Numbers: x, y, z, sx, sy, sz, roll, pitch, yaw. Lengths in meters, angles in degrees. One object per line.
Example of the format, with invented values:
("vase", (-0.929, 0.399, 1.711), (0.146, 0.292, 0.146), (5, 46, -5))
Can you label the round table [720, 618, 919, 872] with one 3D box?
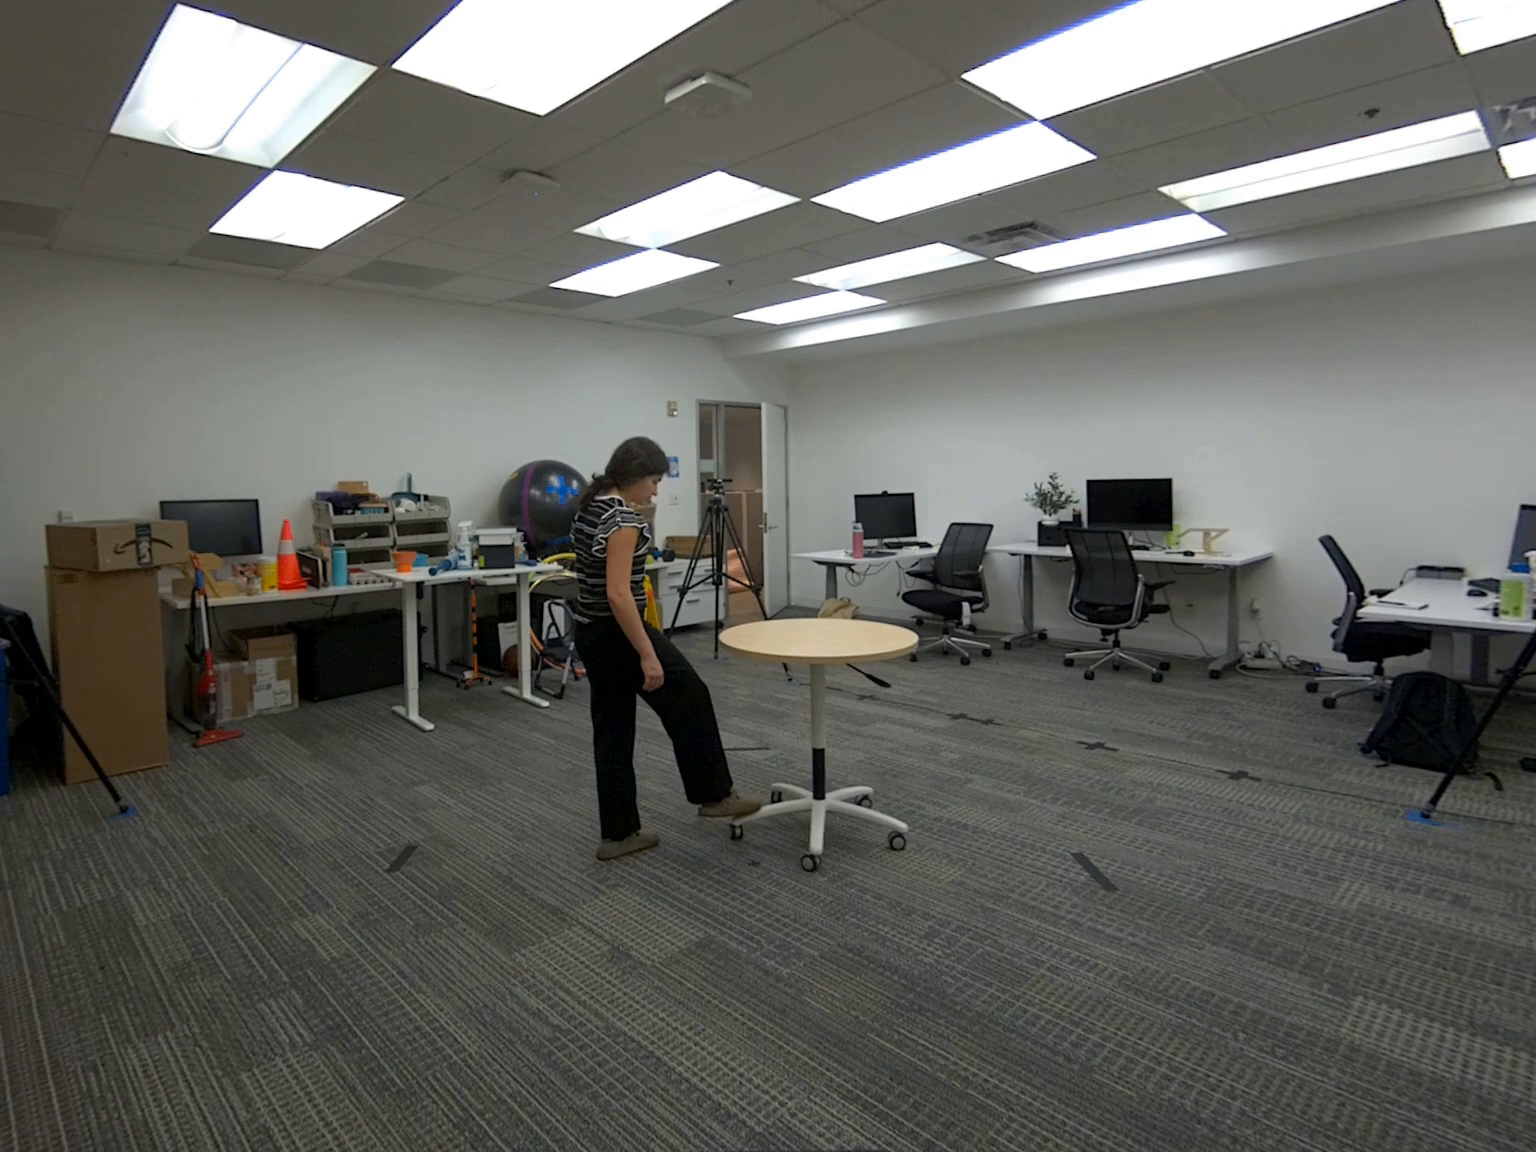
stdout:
("round table", (0.192, 0.617, 3.354), (0.784, 0.783, 0.790), (-1, 6, -2))
